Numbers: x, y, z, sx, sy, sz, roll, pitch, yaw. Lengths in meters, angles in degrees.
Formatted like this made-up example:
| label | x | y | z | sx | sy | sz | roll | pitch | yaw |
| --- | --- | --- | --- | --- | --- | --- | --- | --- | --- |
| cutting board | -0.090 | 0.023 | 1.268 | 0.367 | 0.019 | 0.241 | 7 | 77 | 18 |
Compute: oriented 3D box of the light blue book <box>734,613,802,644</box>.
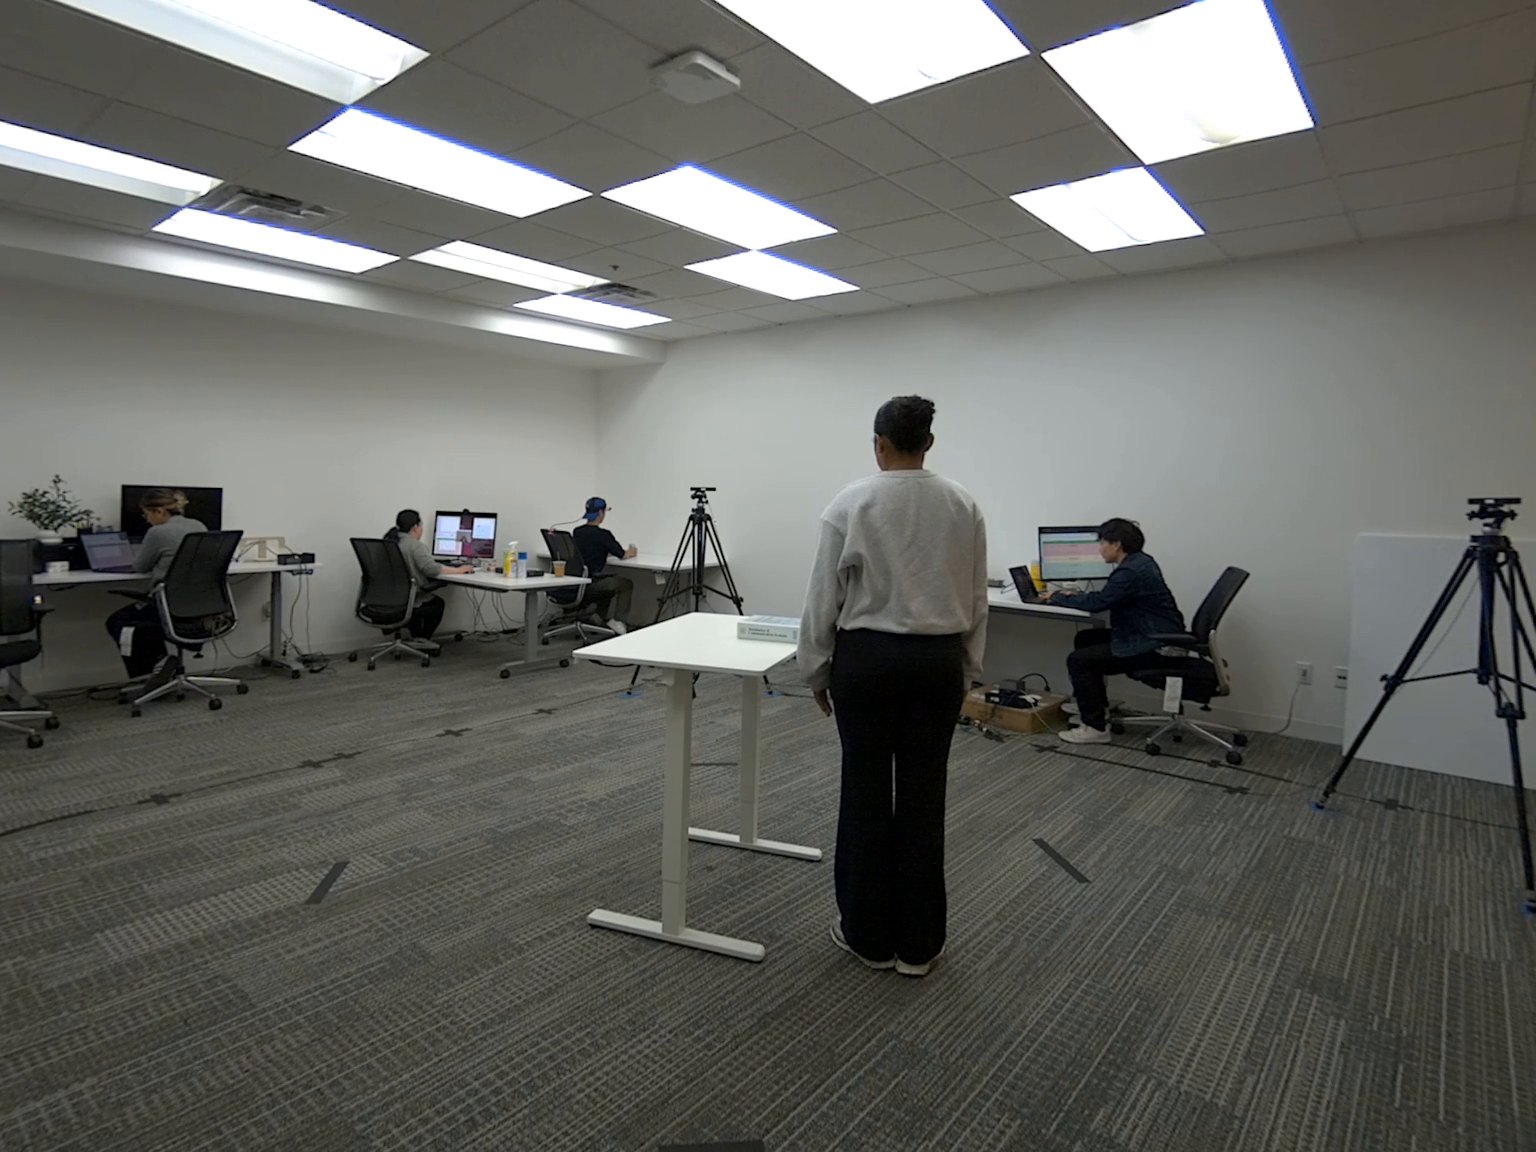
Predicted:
| label | x | y | z | sx | sy | sz | roll | pitch | yaw |
| --- | --- | --- | --- | --- | --- | --- | --- | --- | --- |
| light blue book | 0.038 | 0.179 | 2.914 | 0.267 | 0.059 | 0.188 | 3 | 6 | 21 |
